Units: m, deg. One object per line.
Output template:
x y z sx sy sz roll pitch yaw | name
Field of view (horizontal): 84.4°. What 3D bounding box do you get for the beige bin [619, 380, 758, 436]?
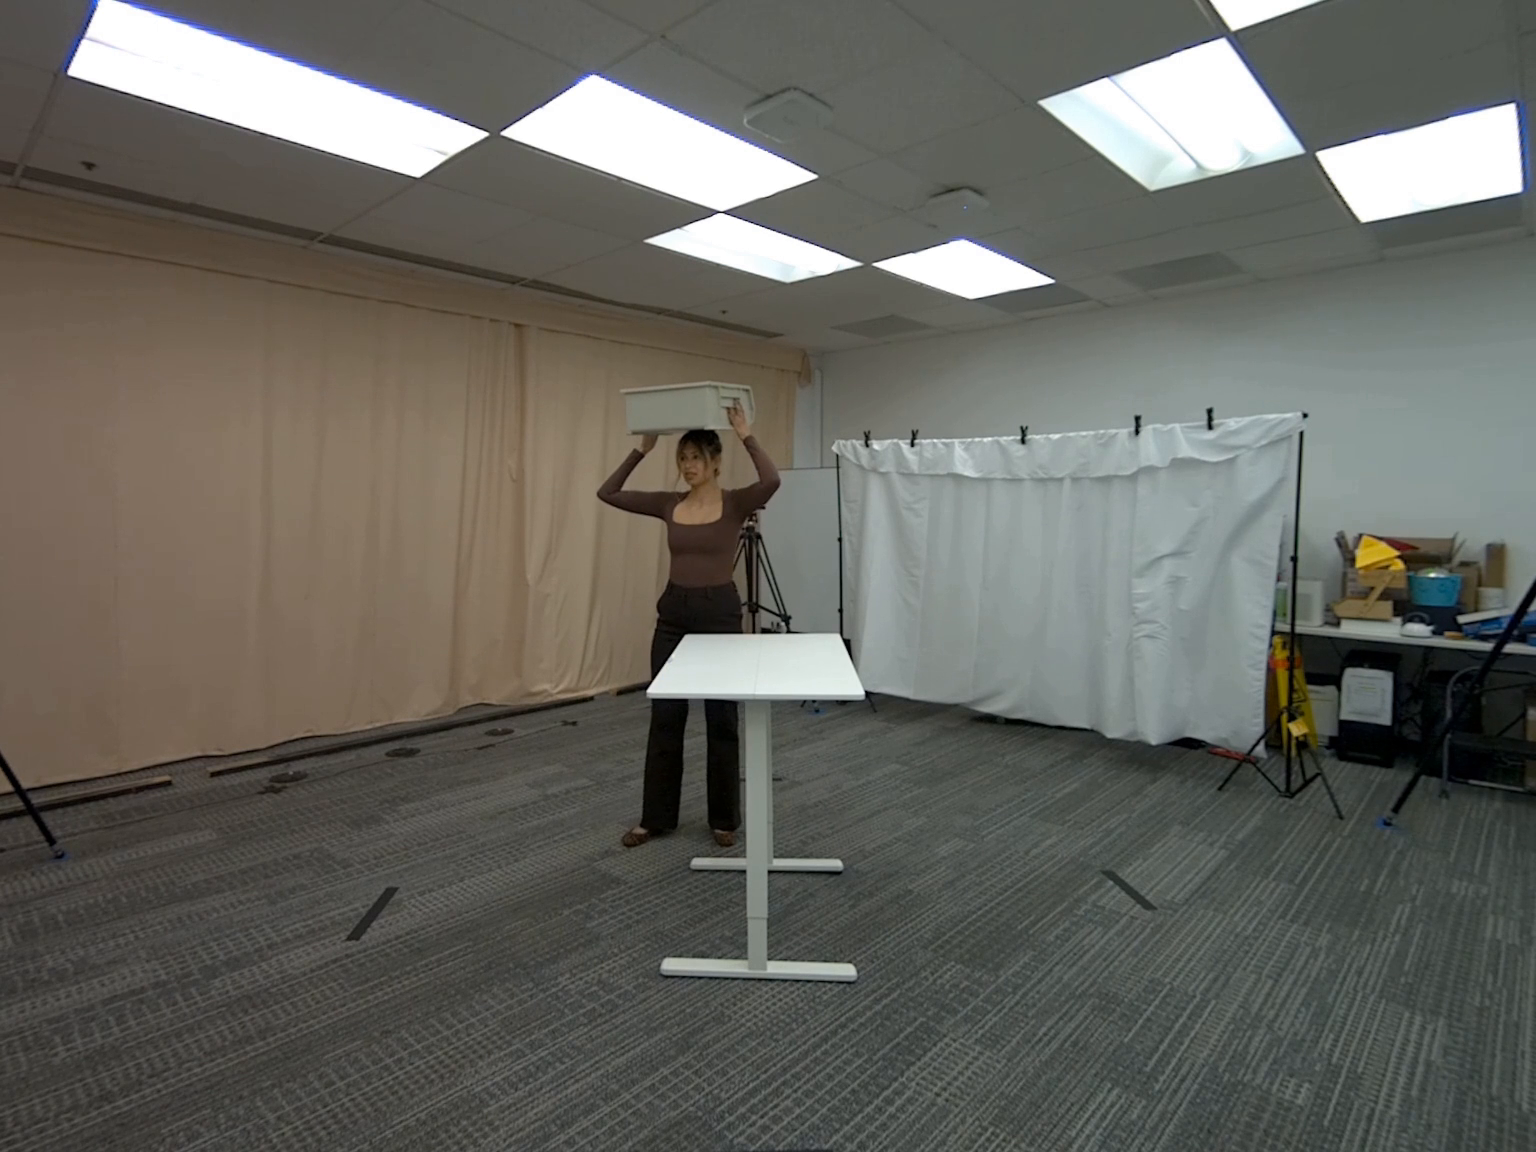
-0.321 -0.681 3.464 0.434 0.188 0.369 2 9 28 | beige bin
